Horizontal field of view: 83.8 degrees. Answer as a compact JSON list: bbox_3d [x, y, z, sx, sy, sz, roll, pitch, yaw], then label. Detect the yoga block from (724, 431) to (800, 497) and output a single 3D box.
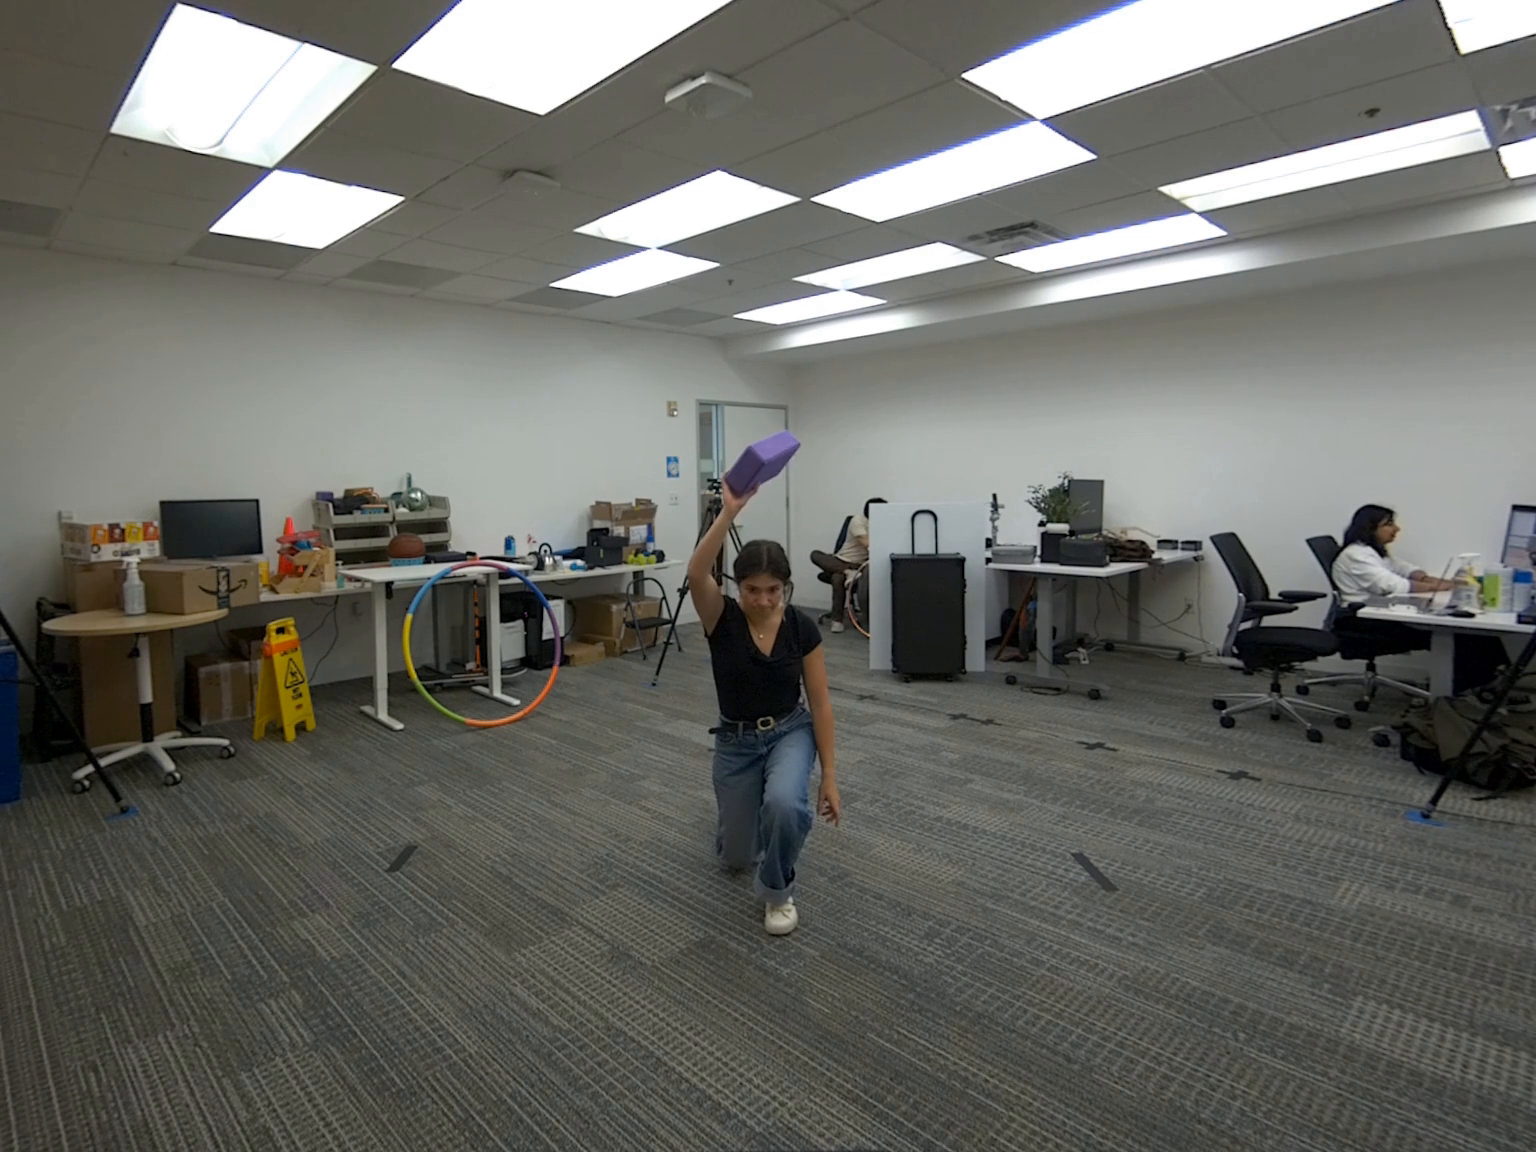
[{"bbox_3d":[-0.013,-0.336,2.544,0.148,0.077,0.227,-49,-8,38],"label":"yoga block"}]
